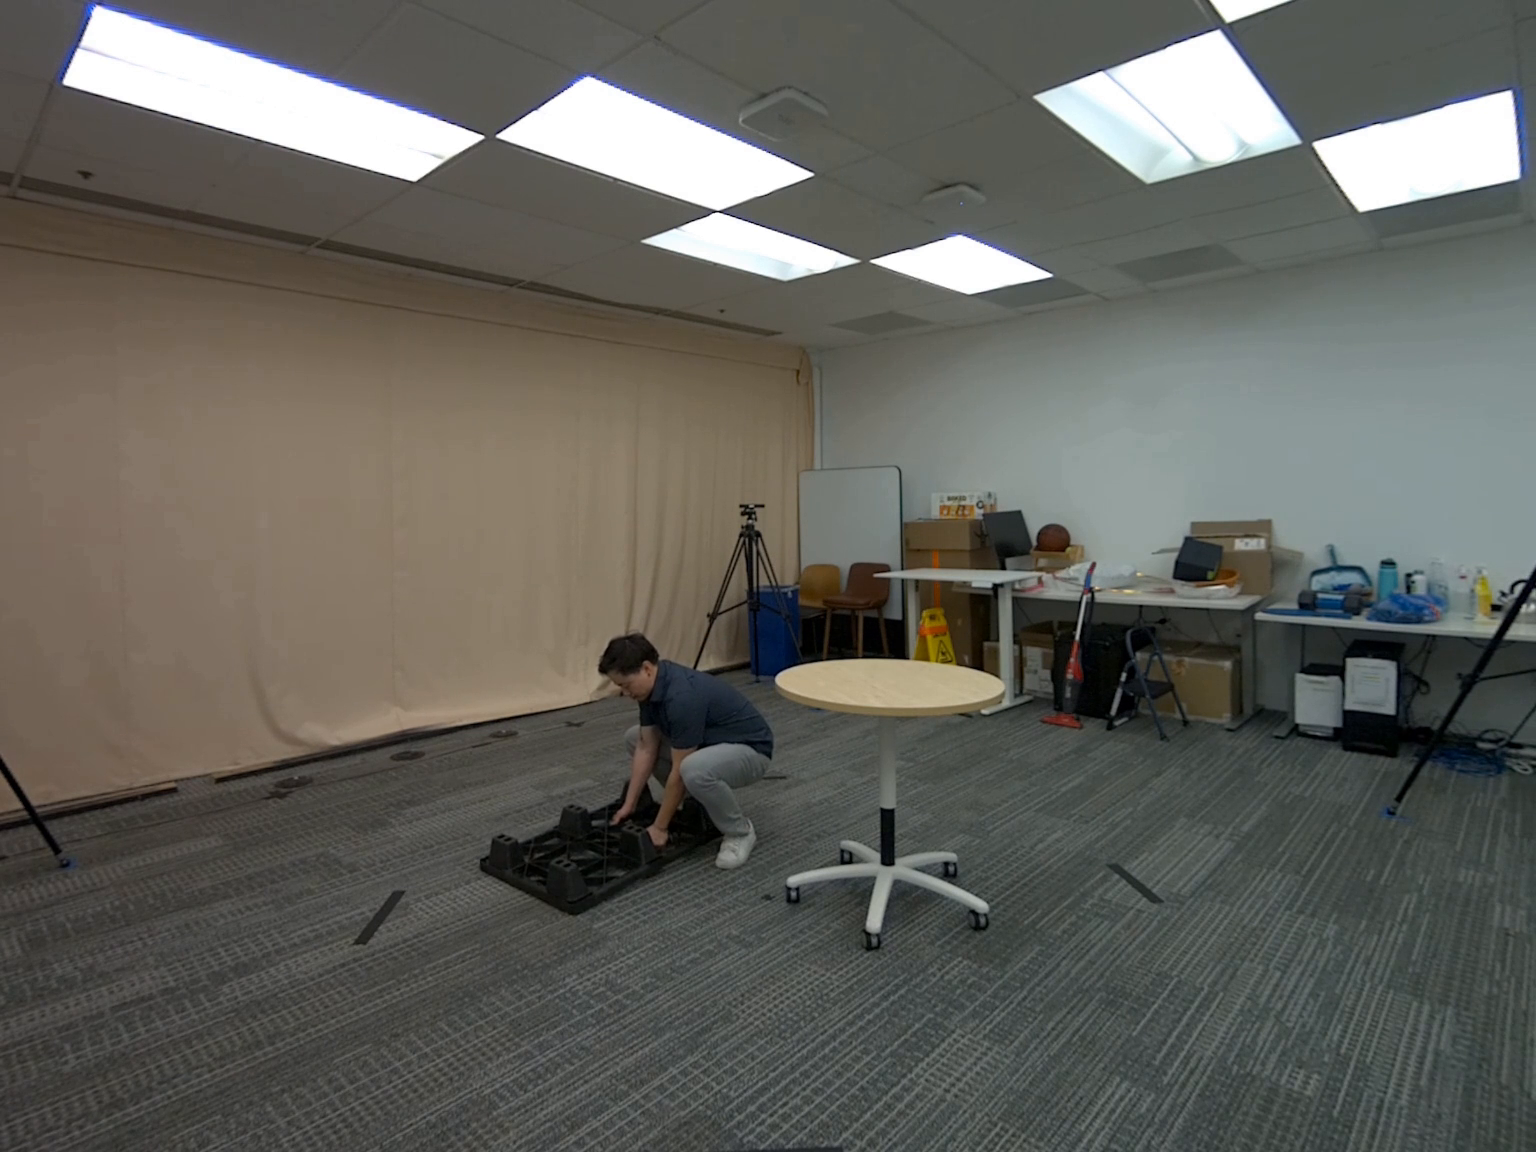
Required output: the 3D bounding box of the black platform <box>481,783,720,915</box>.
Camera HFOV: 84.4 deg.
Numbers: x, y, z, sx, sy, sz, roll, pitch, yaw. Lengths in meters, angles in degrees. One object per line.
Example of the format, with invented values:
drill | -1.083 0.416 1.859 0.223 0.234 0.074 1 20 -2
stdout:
black platform | -0.656 1.035 3.362 0.625 0.143 0.783 5 10 40
